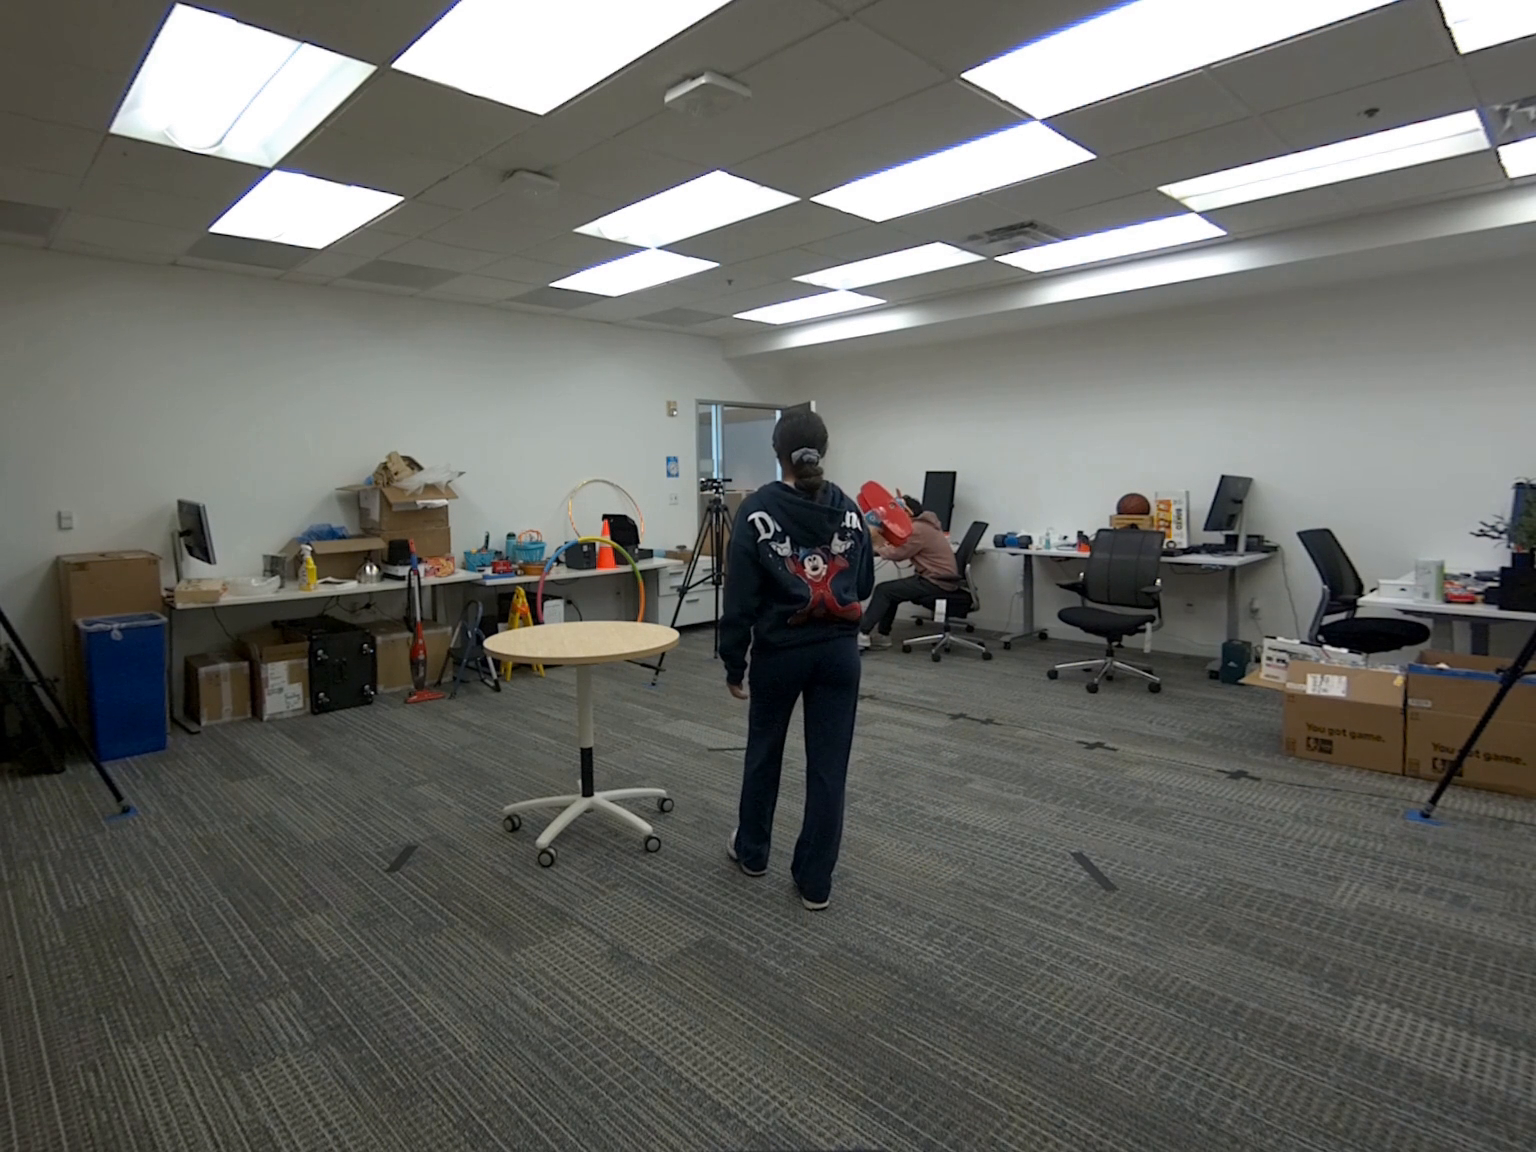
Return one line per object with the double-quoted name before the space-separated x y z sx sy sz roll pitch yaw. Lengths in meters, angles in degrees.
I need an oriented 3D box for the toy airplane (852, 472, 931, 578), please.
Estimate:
"toy airplane" 0.412 -0.189 3.159 0.251 0.261 0.155 29 -32 0
